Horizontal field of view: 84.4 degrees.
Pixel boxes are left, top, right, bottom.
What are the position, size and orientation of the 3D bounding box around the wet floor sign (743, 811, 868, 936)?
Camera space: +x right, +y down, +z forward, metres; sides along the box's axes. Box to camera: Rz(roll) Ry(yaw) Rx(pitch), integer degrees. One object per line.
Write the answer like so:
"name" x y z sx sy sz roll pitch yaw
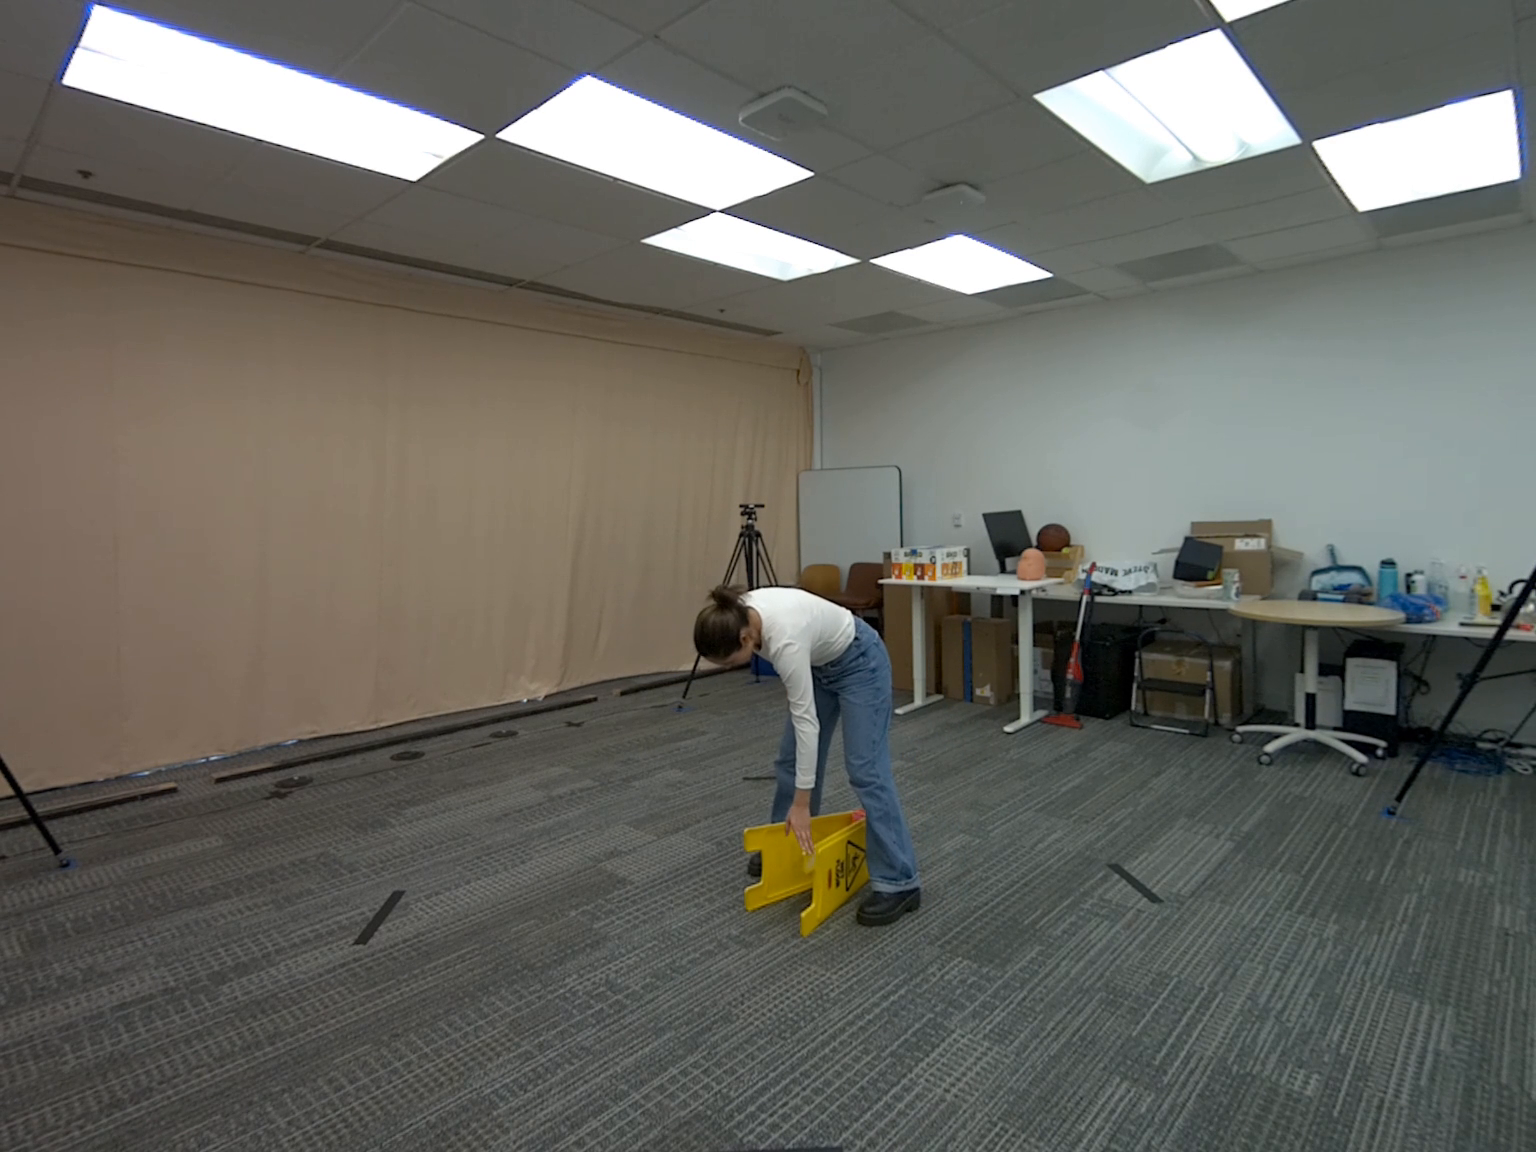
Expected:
"wet floor sign" 0.234 1.002 3.014 0.299 0.282 0.626 3 5 45
